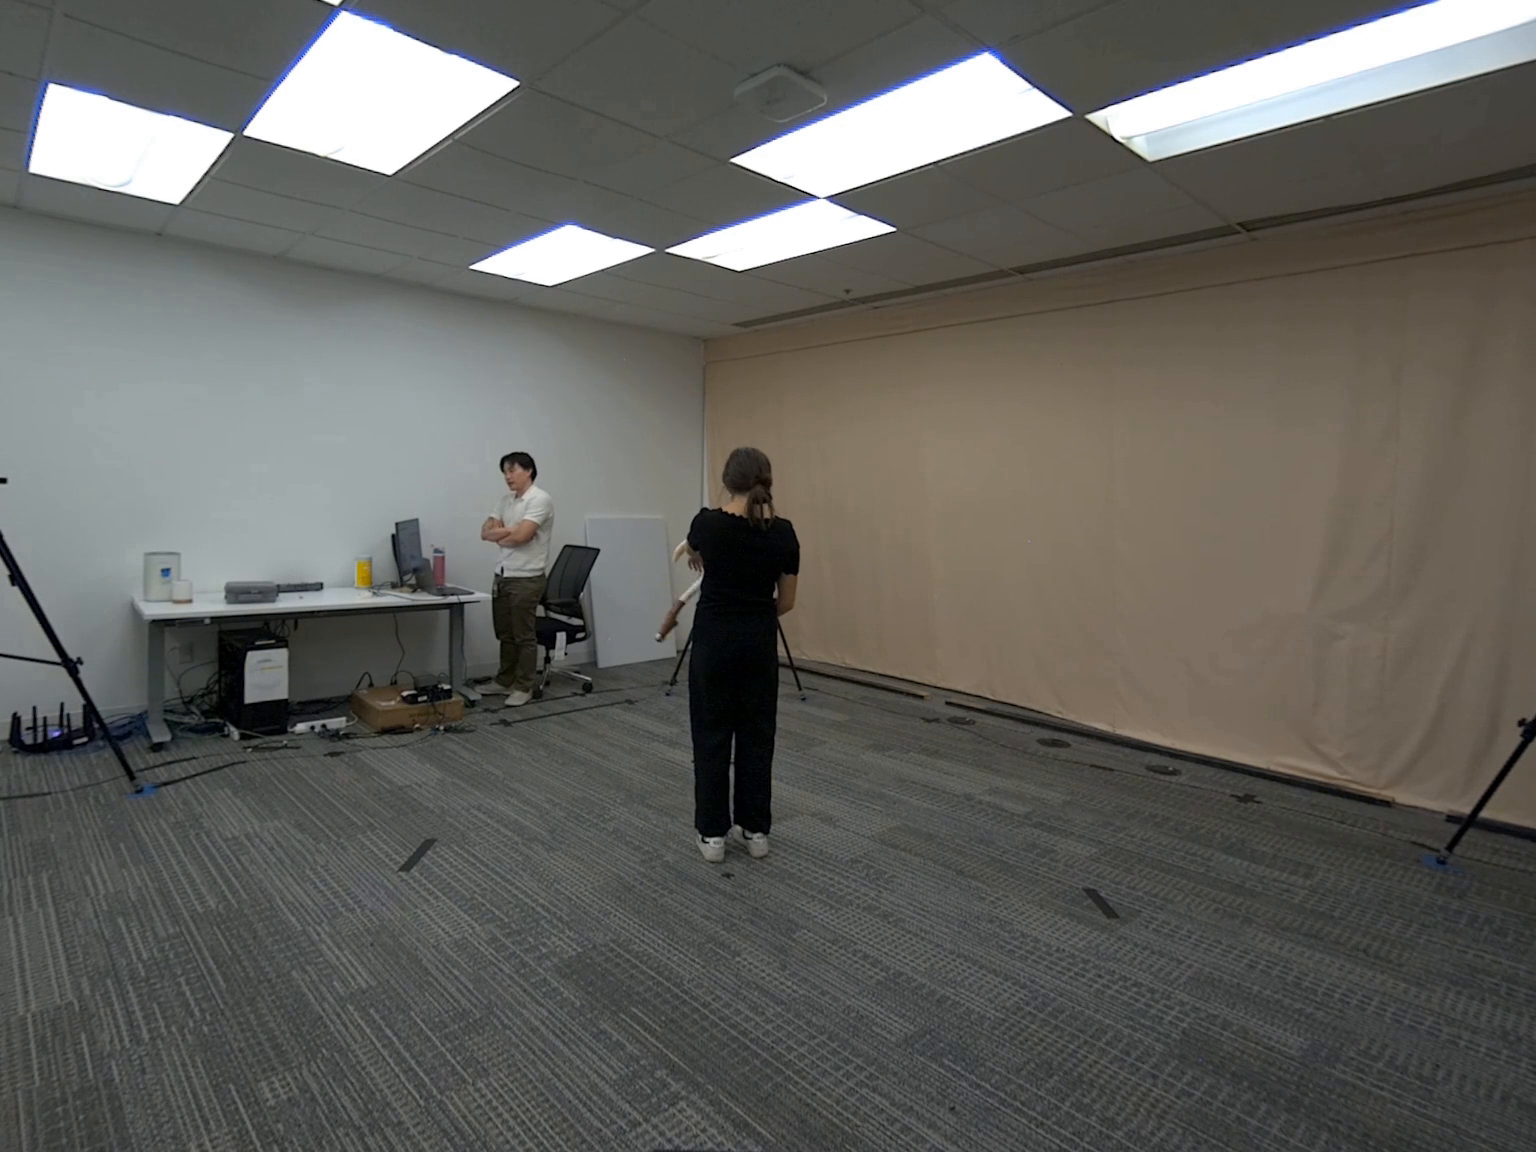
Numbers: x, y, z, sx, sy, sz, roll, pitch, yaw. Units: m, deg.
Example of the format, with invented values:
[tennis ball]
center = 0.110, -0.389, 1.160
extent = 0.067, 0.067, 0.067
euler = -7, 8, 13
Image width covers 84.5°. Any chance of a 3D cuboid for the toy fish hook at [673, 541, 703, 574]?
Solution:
[toy fish hook]
center = -0.383, 0.034, 3.606
extent = 0.219, 0.509, 0.049
euler = 41, -24, -26
